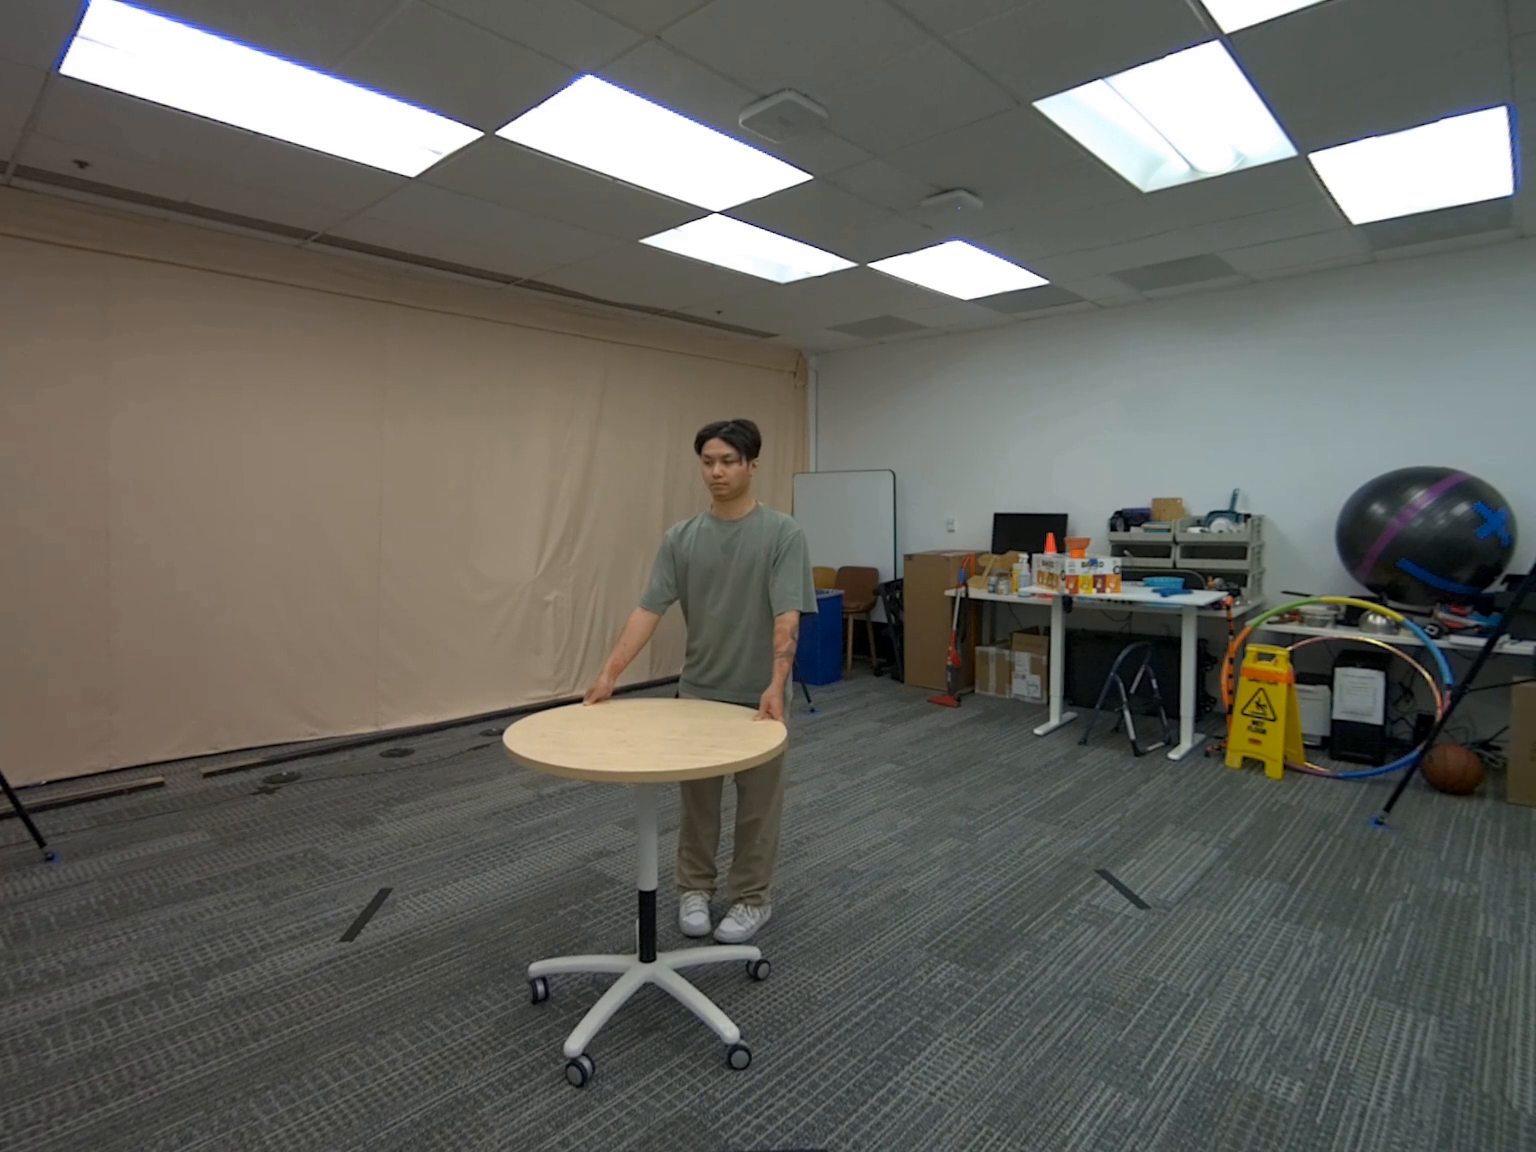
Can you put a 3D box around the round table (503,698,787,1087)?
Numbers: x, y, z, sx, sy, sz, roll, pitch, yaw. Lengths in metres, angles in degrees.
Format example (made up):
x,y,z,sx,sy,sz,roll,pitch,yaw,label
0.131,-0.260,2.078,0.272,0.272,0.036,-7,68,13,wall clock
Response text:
x,y,z,sx,sy,sz,roll,pitch,yaw,label
-0.339,0.808,2.308,0.784,0.785,0.787,0,3,-2,round table
